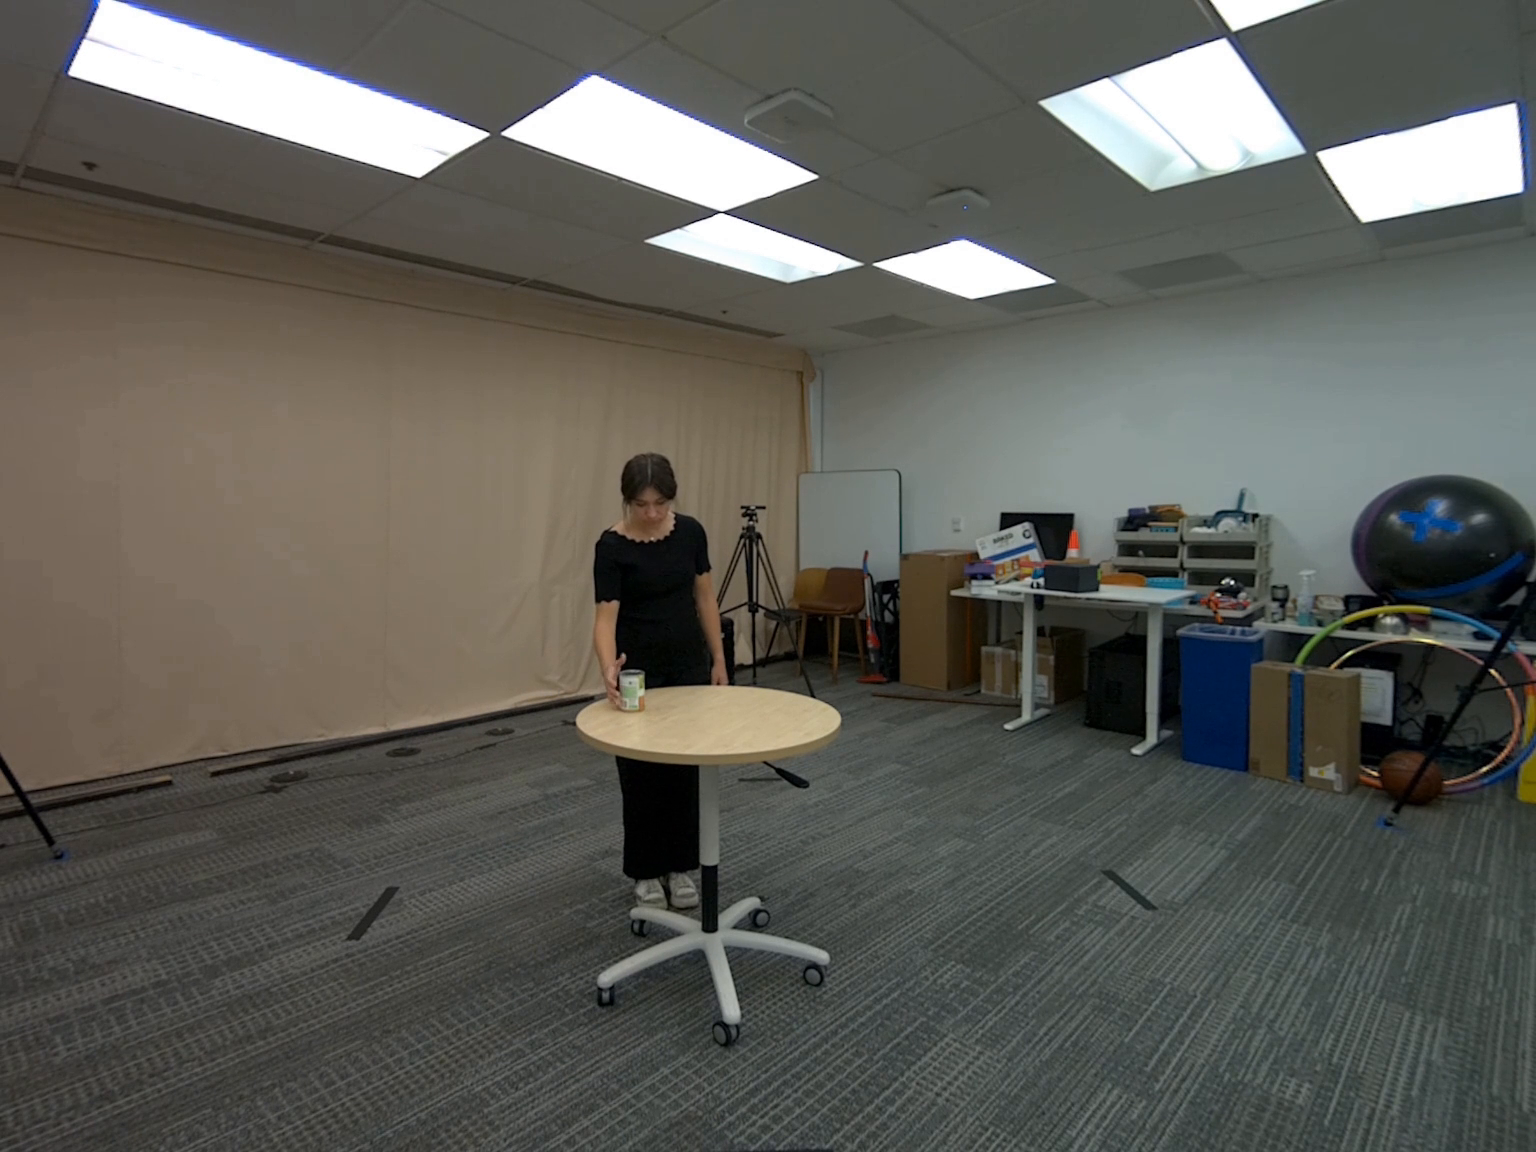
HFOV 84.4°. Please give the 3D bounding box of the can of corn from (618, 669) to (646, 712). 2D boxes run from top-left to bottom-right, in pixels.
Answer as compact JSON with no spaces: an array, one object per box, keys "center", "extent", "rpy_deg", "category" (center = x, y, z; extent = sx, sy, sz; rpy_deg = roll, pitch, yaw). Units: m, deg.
[{"center":[-0.411,0.346,2.508],"extent":[0.074,0.111,0.074],"rpy_deg":[-3,5,-2],"category":"can of corn"}]
